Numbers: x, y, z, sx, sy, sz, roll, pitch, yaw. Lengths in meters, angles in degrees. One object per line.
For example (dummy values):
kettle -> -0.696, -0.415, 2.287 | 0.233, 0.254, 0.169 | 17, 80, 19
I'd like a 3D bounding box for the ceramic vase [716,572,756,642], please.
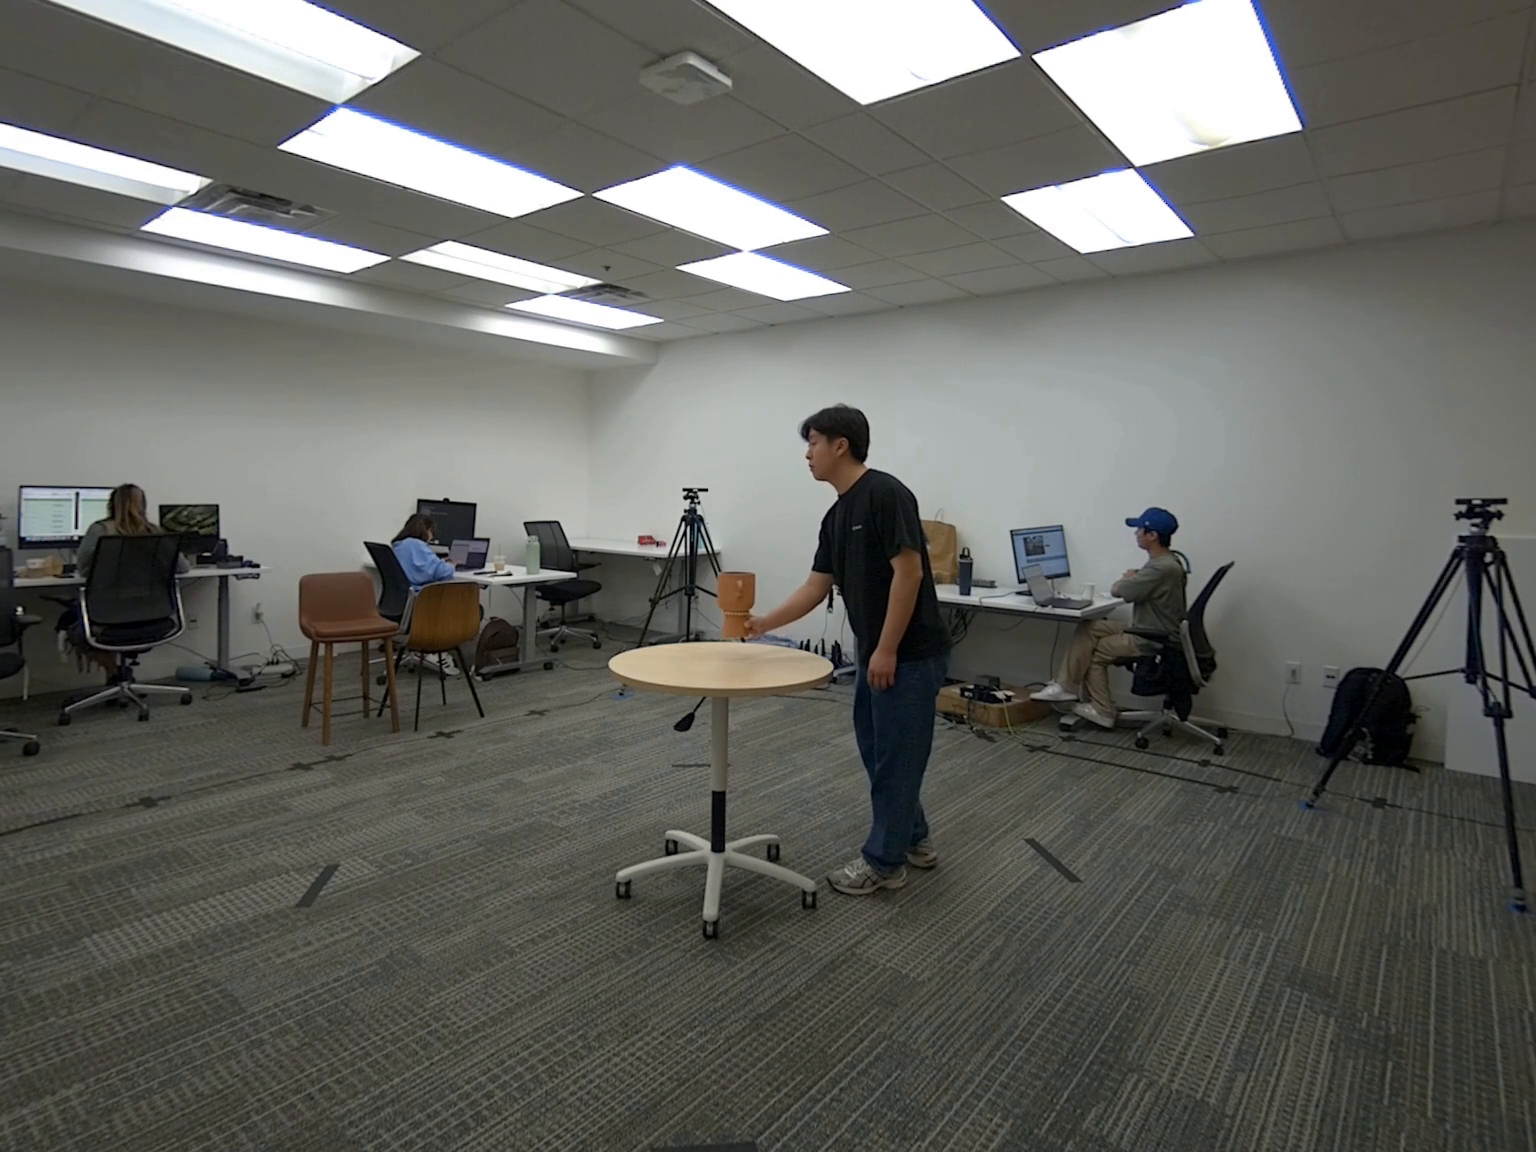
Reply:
ceramic vase -> -0.113, 0.097, 2.977 | 0.138, 0.219, 0.154 | 1, 2, 30
